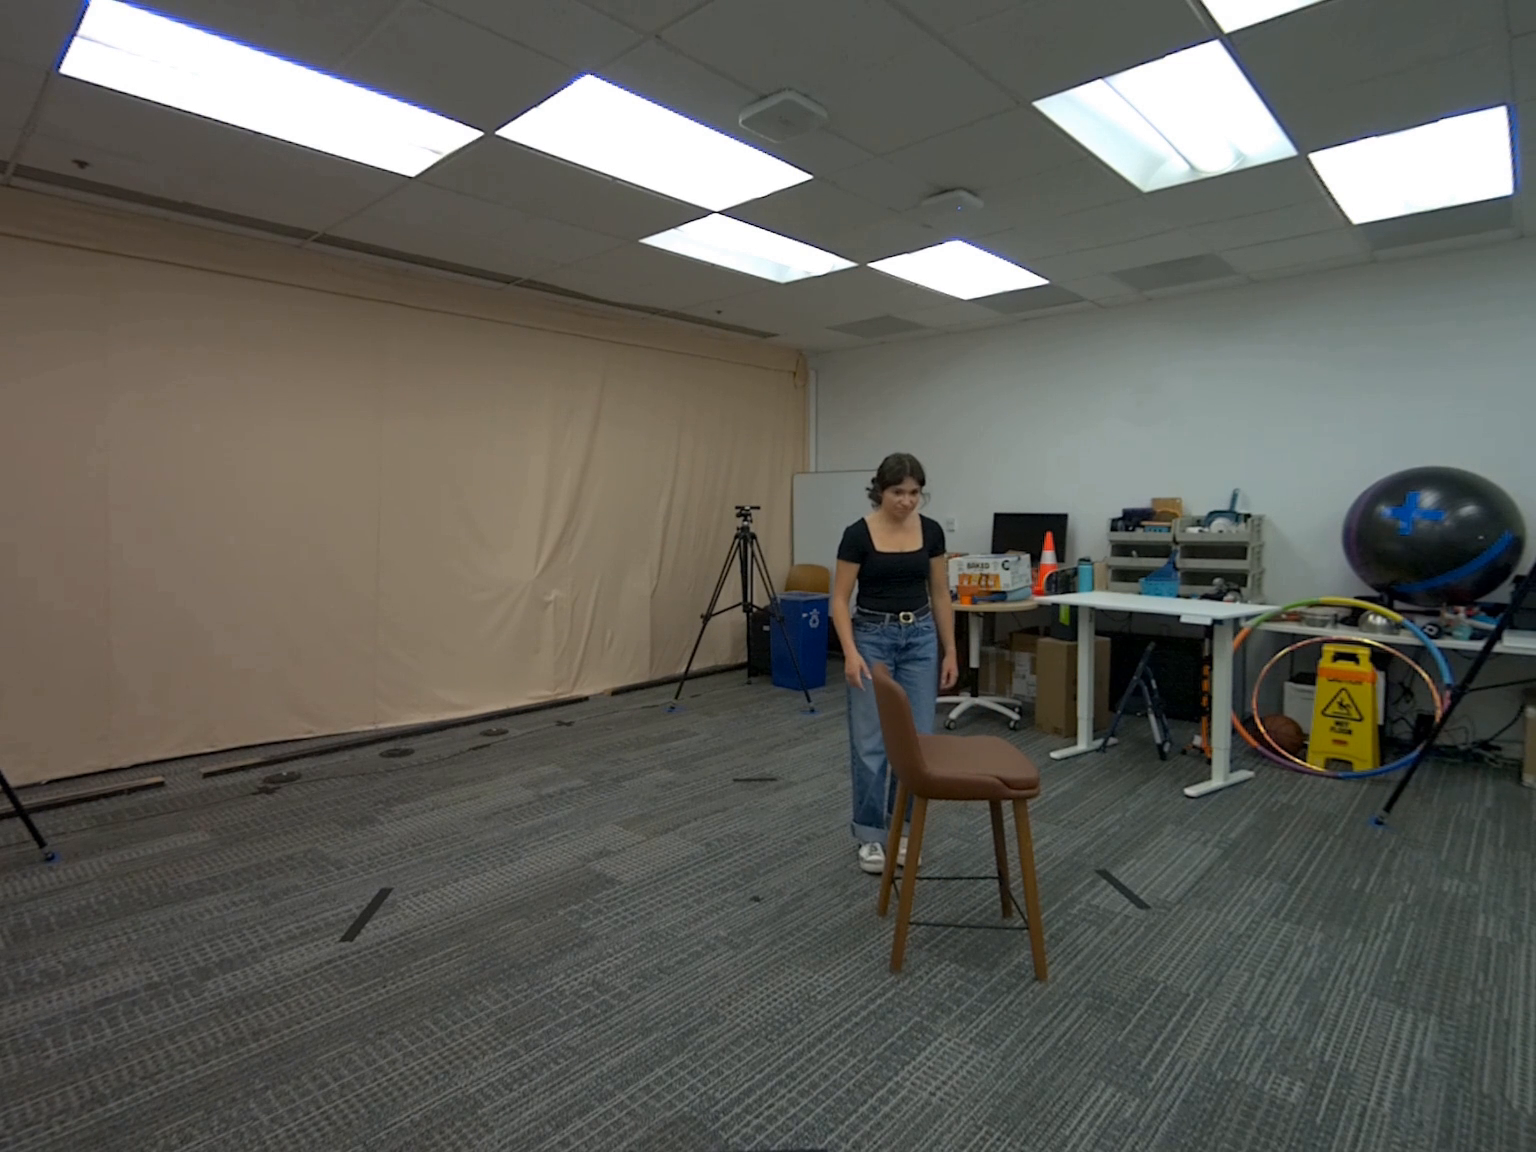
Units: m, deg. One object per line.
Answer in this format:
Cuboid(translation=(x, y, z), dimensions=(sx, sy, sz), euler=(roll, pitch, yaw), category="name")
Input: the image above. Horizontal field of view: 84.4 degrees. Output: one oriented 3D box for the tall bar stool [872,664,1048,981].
Cuboid(translation=(0.593, 0.733, 2.656), dimensions=(0.470, 0.888, 0.455), euler=(-2, 3, 4), category="tall bar stool")
